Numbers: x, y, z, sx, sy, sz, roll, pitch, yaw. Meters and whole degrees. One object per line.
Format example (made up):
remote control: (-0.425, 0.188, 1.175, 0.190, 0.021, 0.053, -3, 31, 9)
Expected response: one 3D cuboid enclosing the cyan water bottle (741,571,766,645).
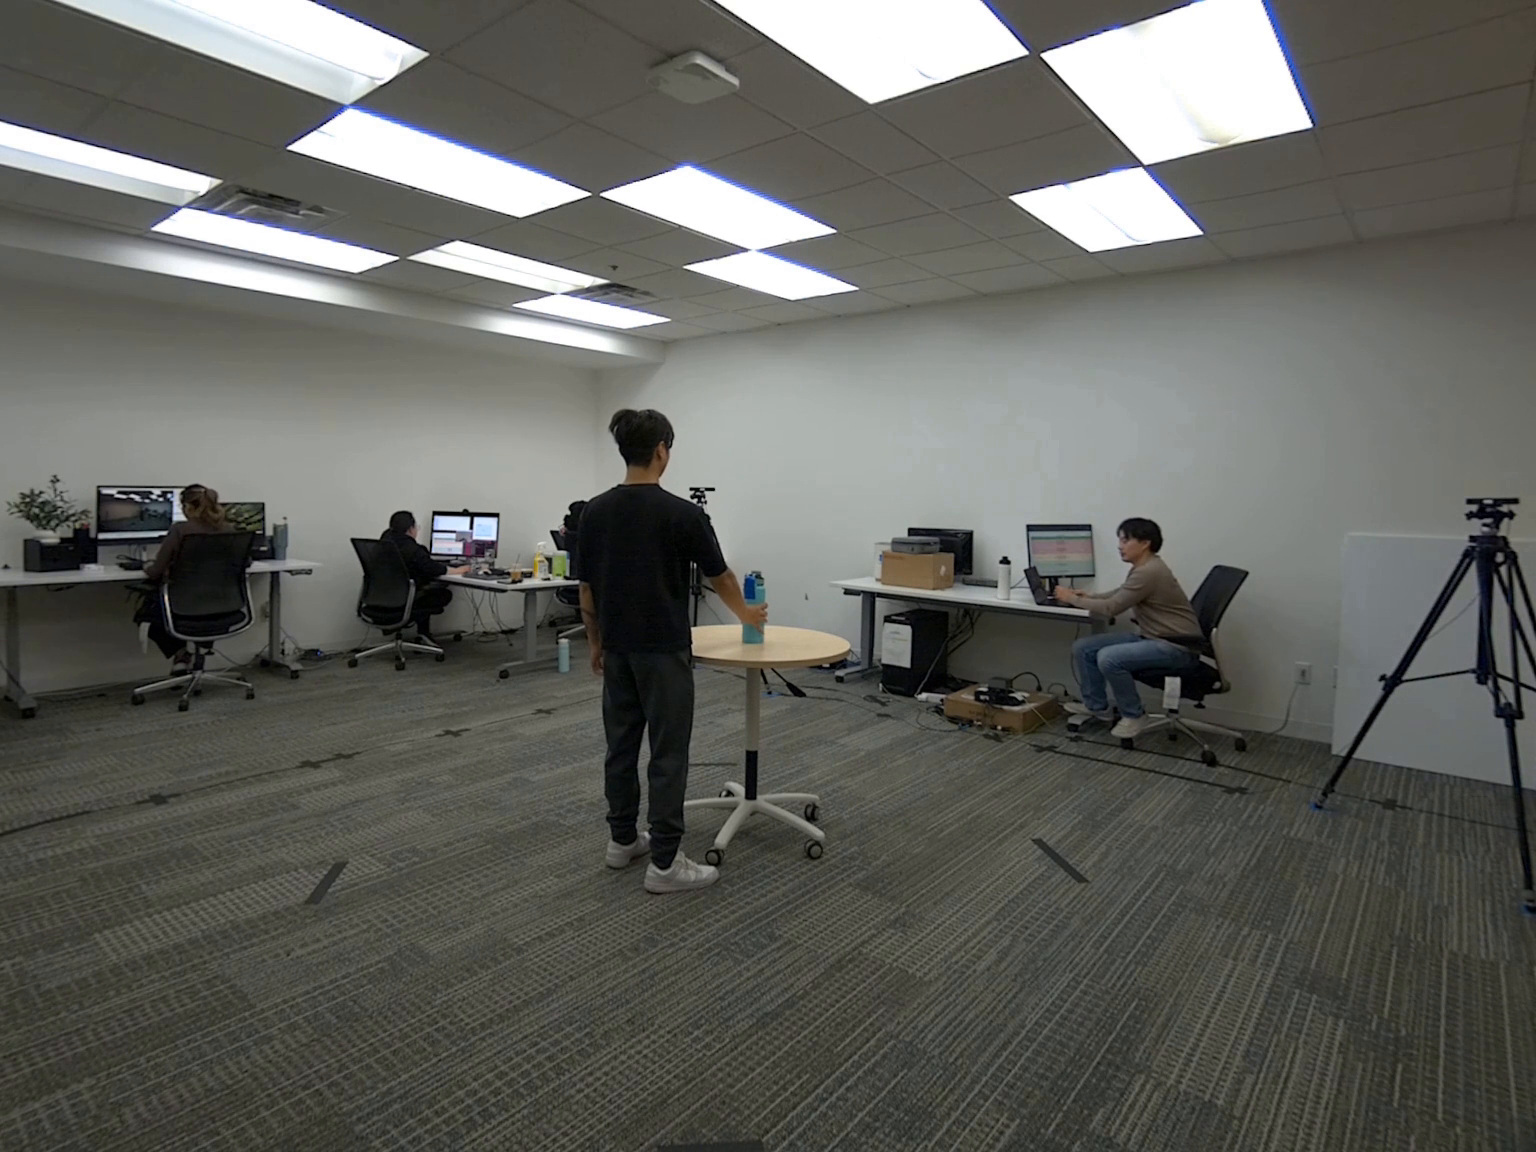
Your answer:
cyan water bottle: (-0.069, 0.120, 3.389, 0.092, 0.282, 0.093, 1, 6, -2)
